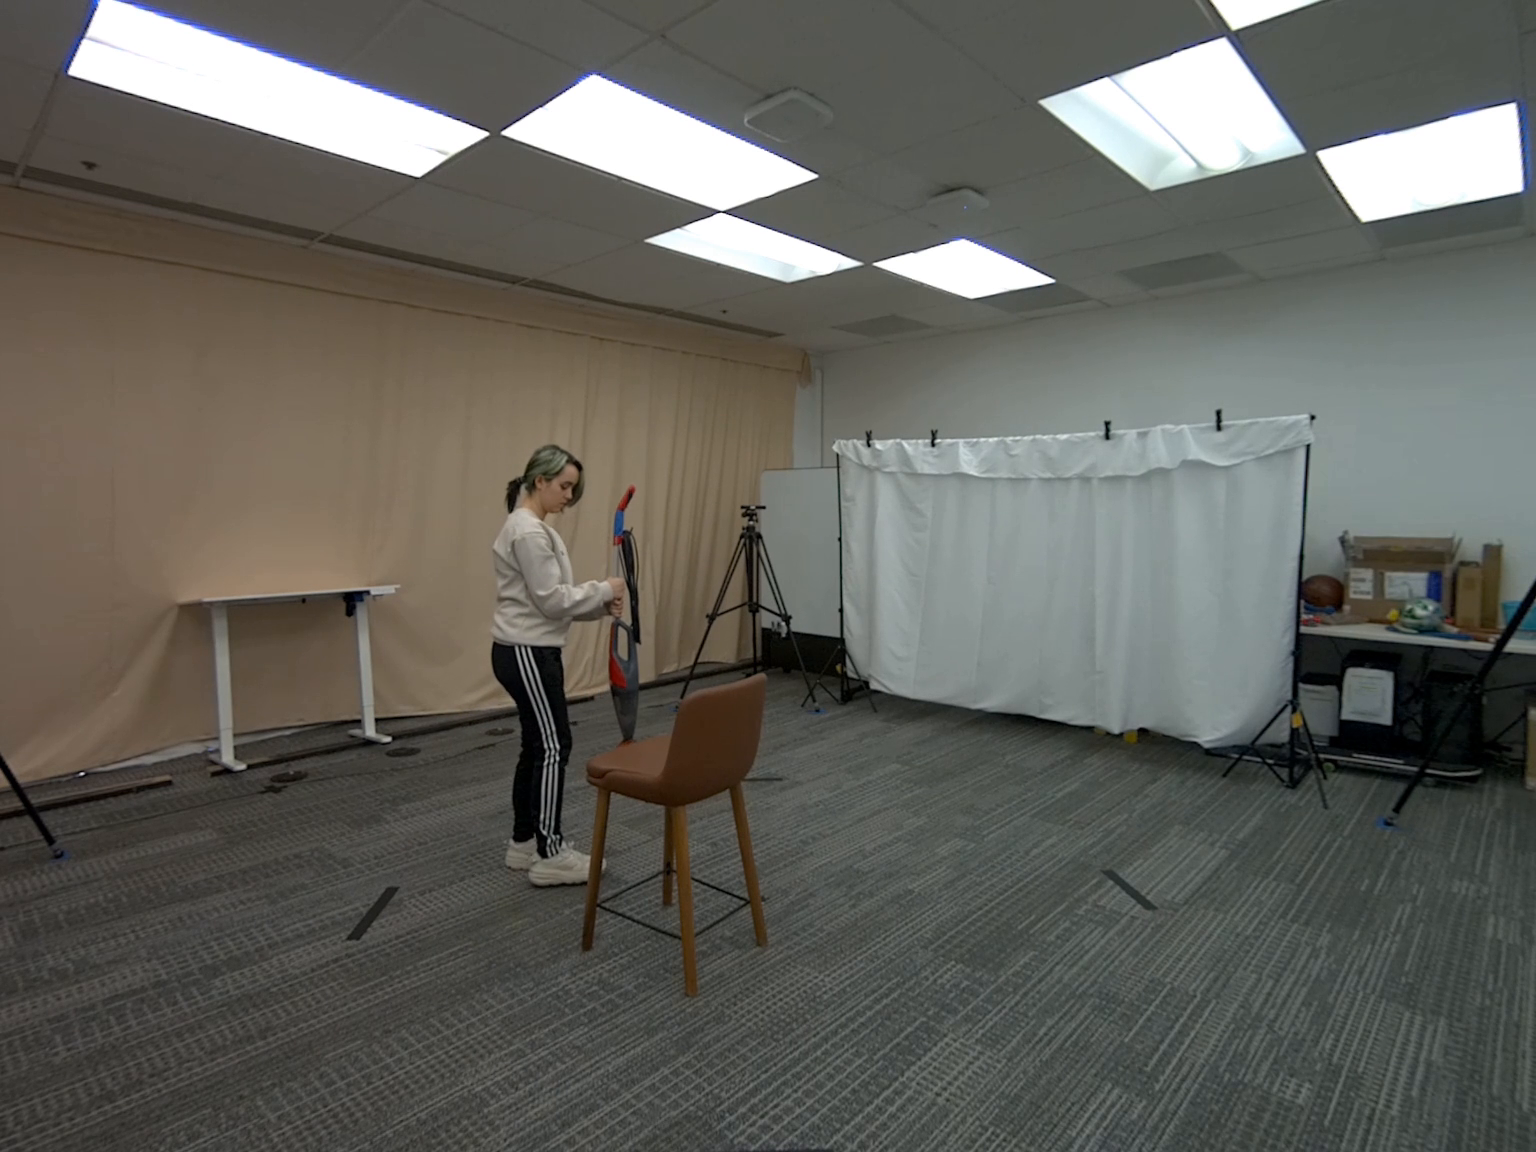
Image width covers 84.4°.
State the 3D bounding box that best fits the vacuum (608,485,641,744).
[{"bbox_3d":[-0.553,0.177,3.291,0.143,1.049,0.255,3,0,-10],"label":"vacuum"}]
